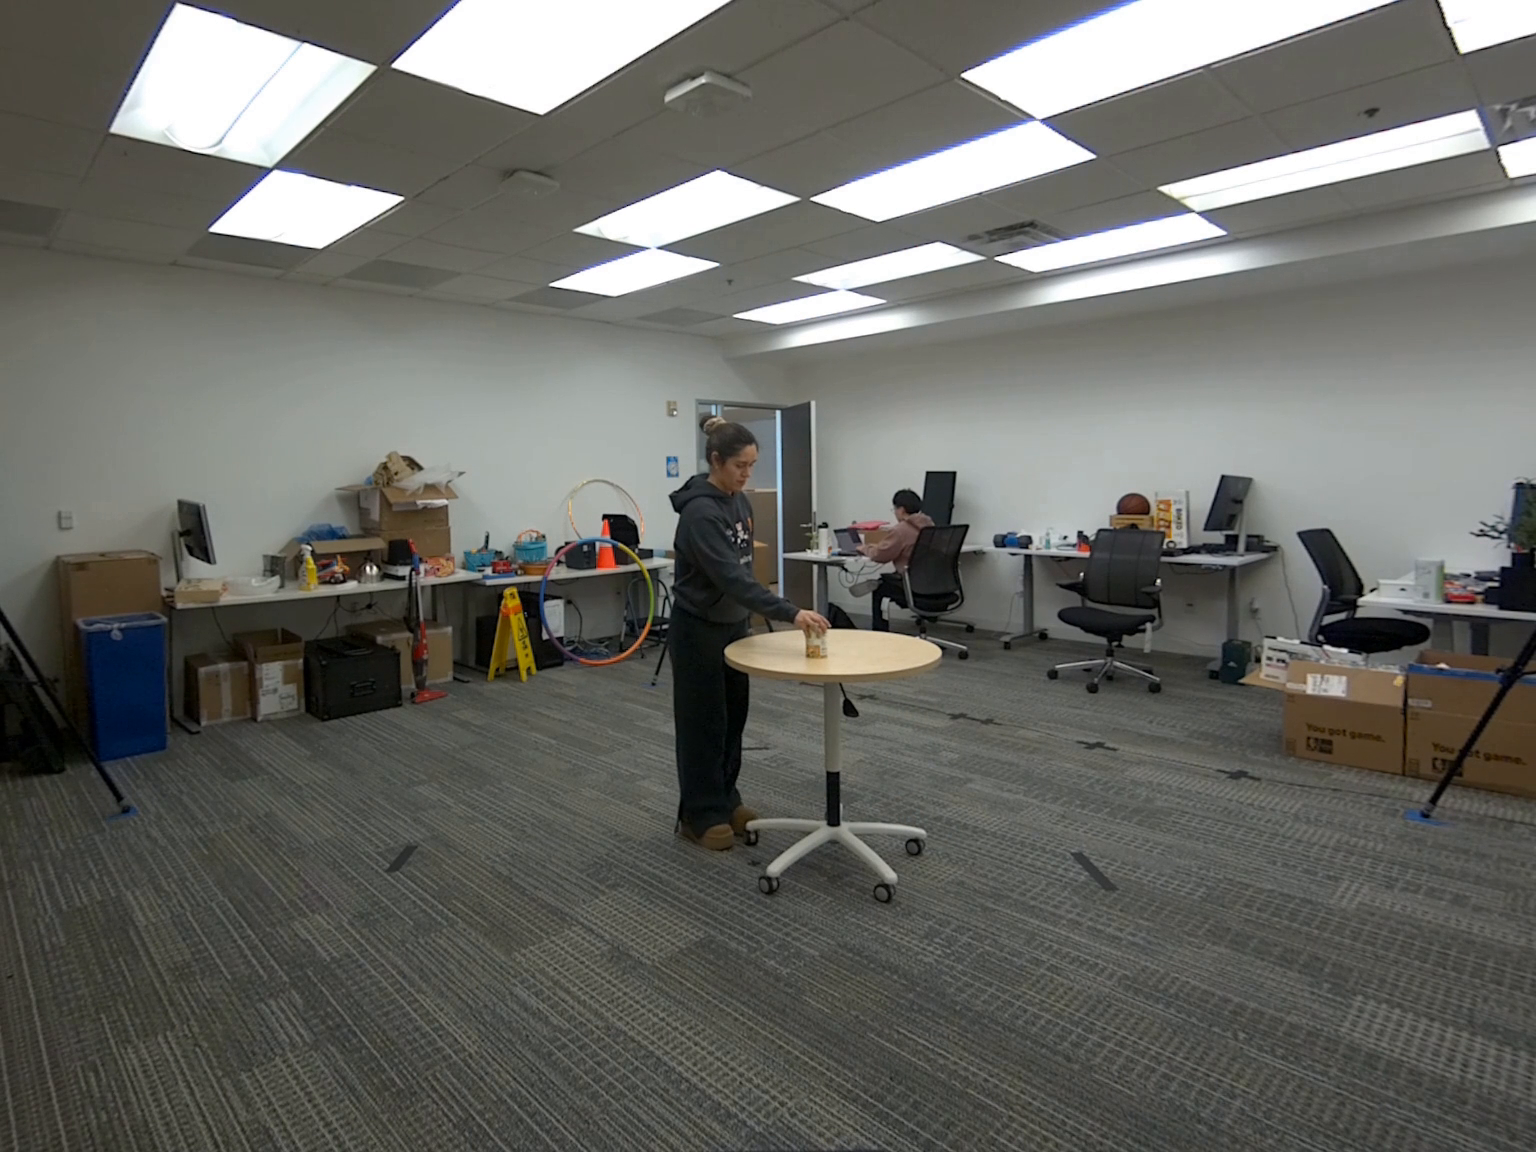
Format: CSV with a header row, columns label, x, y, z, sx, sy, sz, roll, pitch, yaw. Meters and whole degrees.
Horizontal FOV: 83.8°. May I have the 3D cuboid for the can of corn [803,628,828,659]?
label,x,y,z,sx,sy,sz,roll,pitch,yaw
can of corn,0.169,0.221,2.933,0.074,0.110,0.074,-2,6,-1
